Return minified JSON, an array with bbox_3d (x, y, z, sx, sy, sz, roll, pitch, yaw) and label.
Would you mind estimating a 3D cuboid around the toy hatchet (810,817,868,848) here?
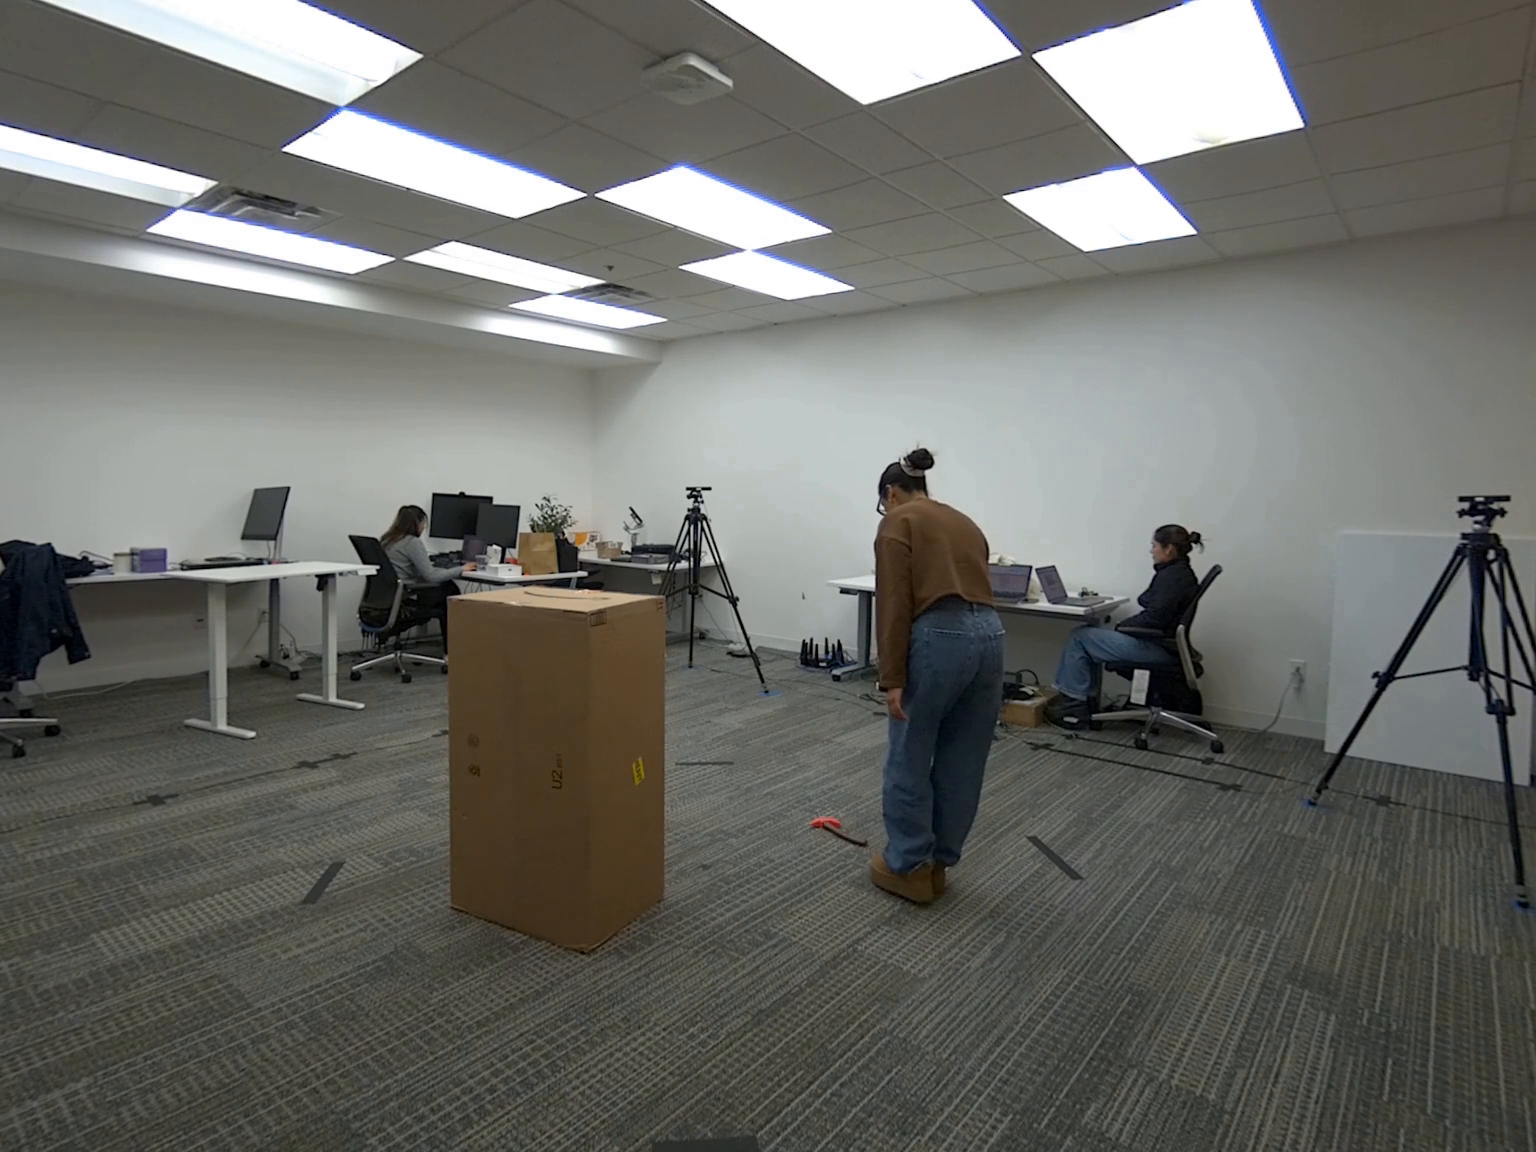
[{"bbox_3d":[0.302,1.032,3.461,0.279,0.029,0.127,8,8,41],"label":"toy hatchet"}]
